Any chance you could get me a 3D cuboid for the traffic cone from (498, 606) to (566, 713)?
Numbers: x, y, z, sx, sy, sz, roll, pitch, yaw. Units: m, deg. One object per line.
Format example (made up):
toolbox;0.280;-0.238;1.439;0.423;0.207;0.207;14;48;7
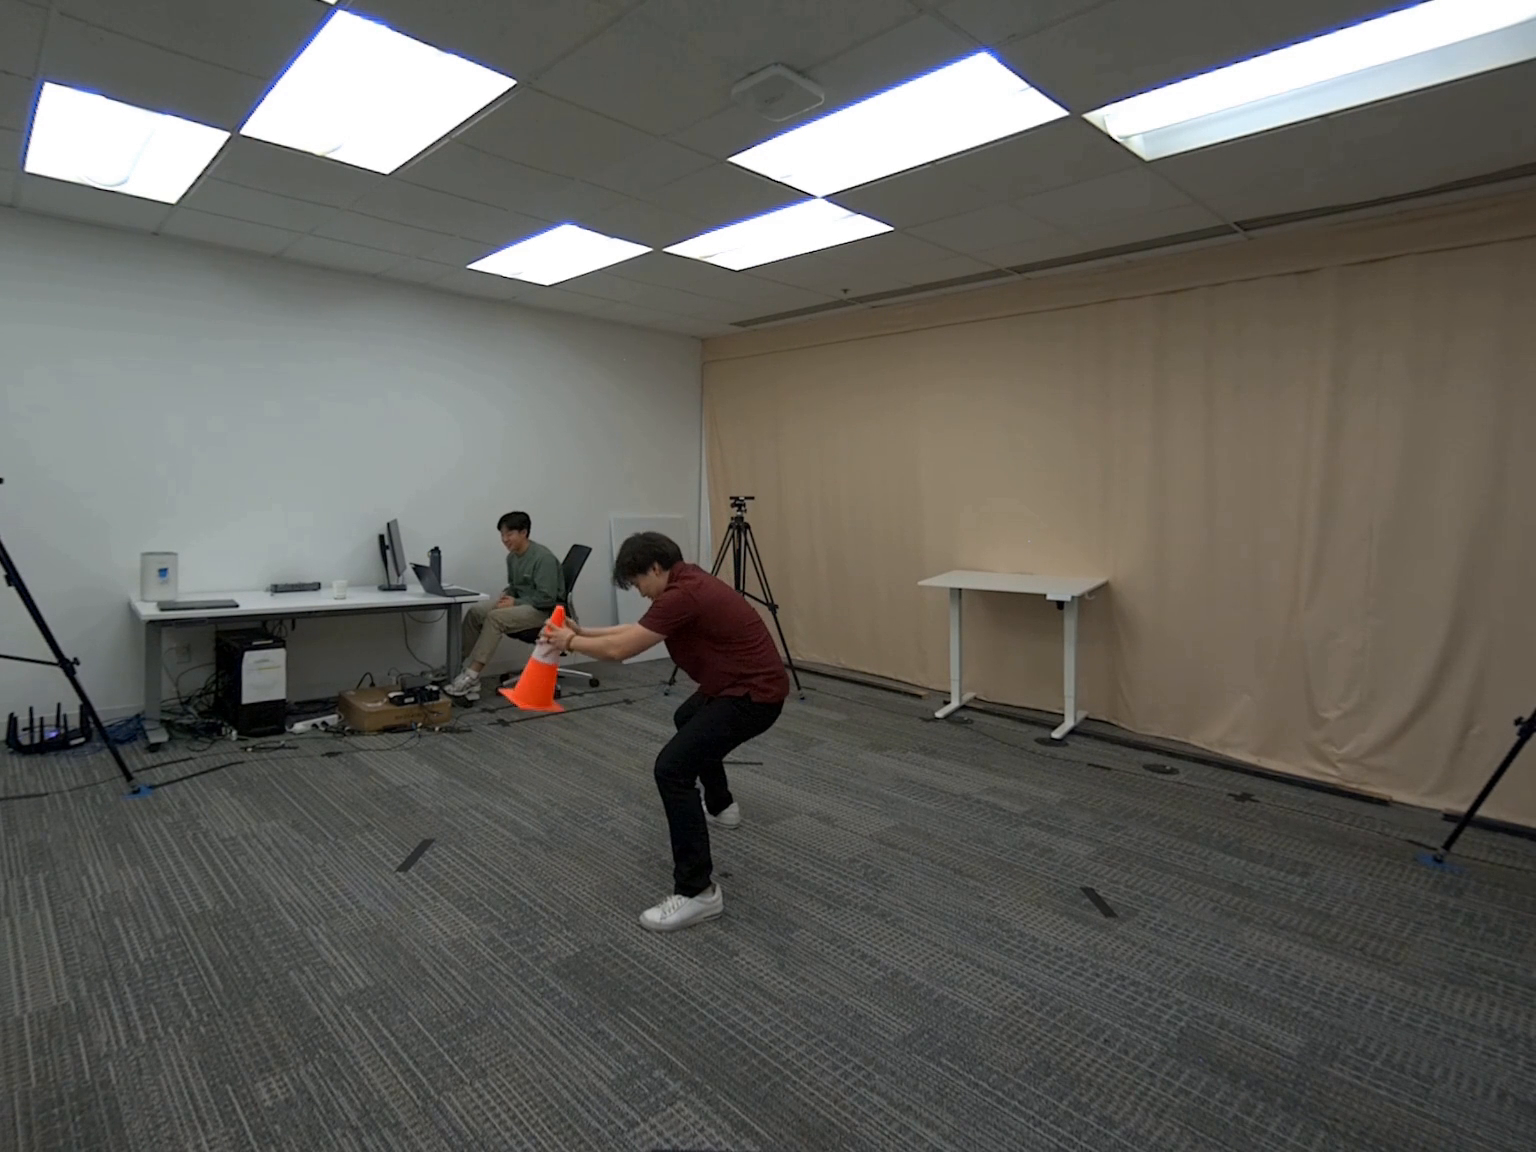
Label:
traffic cone;-0.853;0.303;3.220;0.199;0.382;0.209;12;7;-37
